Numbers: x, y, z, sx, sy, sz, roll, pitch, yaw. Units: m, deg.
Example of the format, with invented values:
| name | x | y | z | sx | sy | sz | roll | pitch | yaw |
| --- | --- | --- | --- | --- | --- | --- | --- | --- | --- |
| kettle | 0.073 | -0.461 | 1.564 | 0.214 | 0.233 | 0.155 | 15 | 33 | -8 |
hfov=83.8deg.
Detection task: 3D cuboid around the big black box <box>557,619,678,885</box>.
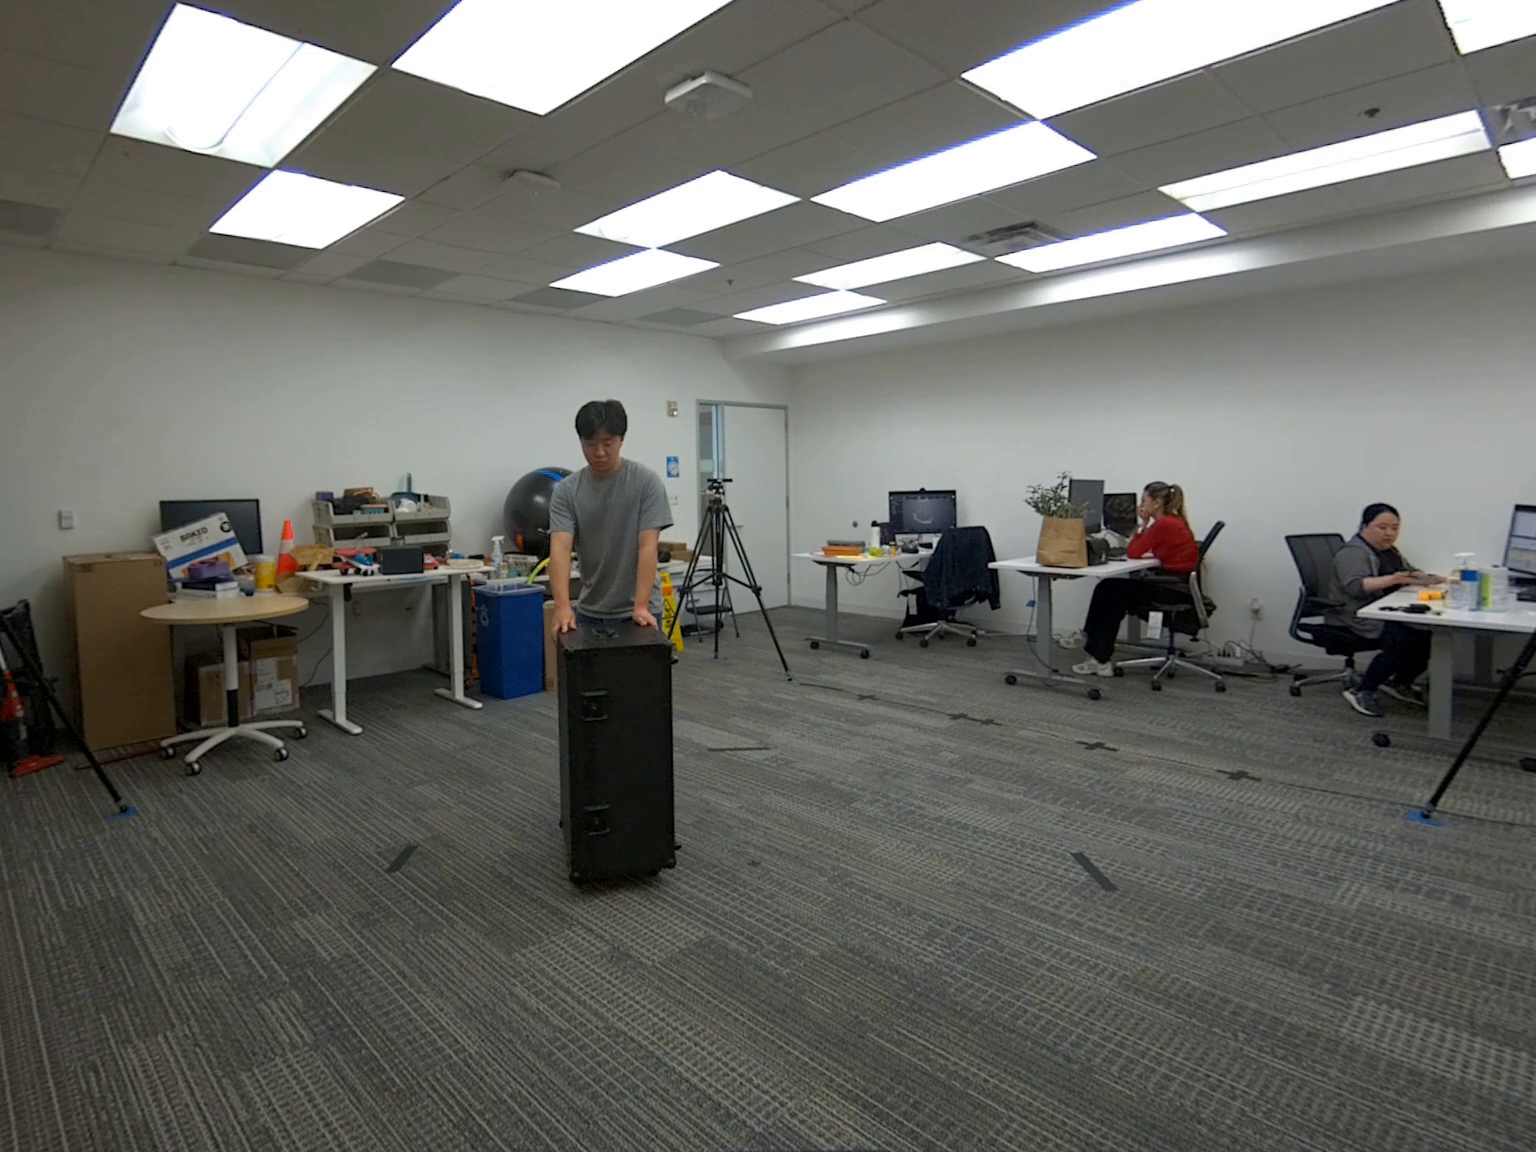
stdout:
| name | x | y | z | sx | sy | sz | roll | pitch | yaw |
| --- | --- | --- | --- | --- | --- | --- | --- | --- | --- |
| big black box | -0.553 | 0.636 | 3.092 | 0.390 | 0.860 | 0.530 | -1 | 2 | -17 |
